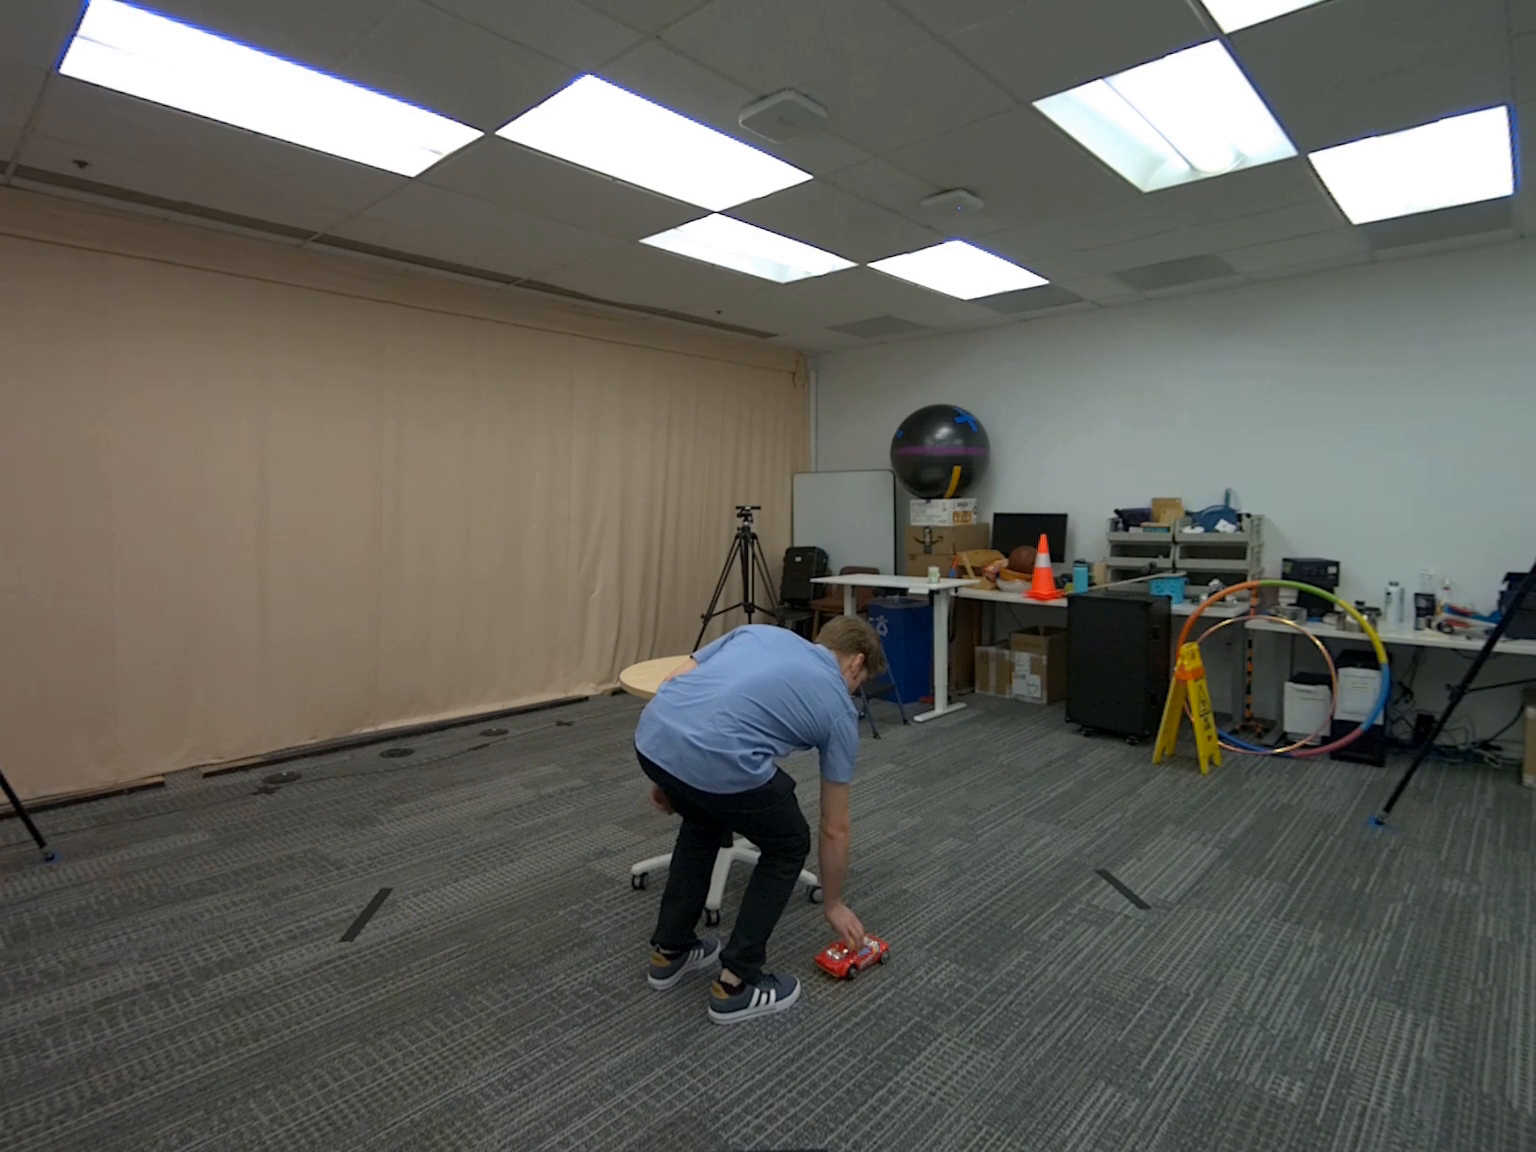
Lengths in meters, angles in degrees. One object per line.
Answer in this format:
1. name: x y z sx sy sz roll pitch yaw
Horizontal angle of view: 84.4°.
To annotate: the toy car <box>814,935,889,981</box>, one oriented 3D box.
1. toy car: 0.252 1.148 2.540 0.246 0.083 0.134 10 -2 -39
